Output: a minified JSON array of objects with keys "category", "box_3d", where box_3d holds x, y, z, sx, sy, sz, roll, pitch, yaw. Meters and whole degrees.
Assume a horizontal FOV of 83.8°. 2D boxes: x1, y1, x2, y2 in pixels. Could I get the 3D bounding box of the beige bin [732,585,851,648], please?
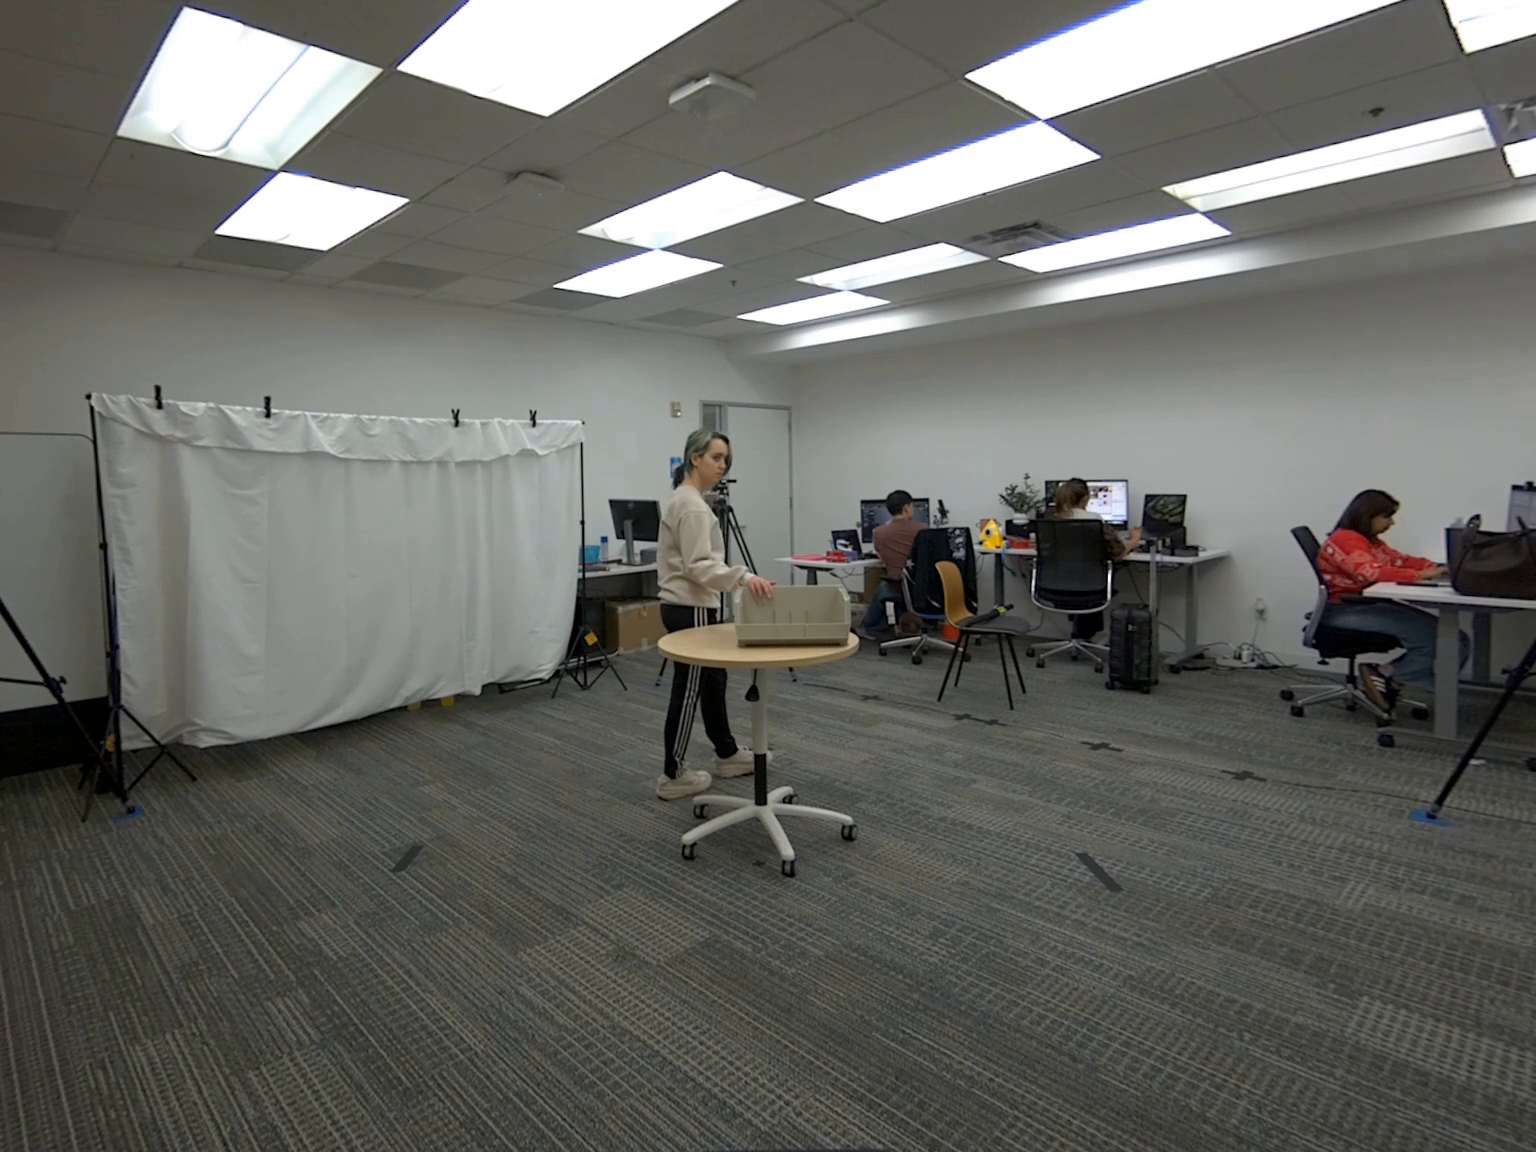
[{"category":"beige bin","box_3d":[0.091,0.148,3.260,0.424,0.188,0.377,-1,4,4]}]
